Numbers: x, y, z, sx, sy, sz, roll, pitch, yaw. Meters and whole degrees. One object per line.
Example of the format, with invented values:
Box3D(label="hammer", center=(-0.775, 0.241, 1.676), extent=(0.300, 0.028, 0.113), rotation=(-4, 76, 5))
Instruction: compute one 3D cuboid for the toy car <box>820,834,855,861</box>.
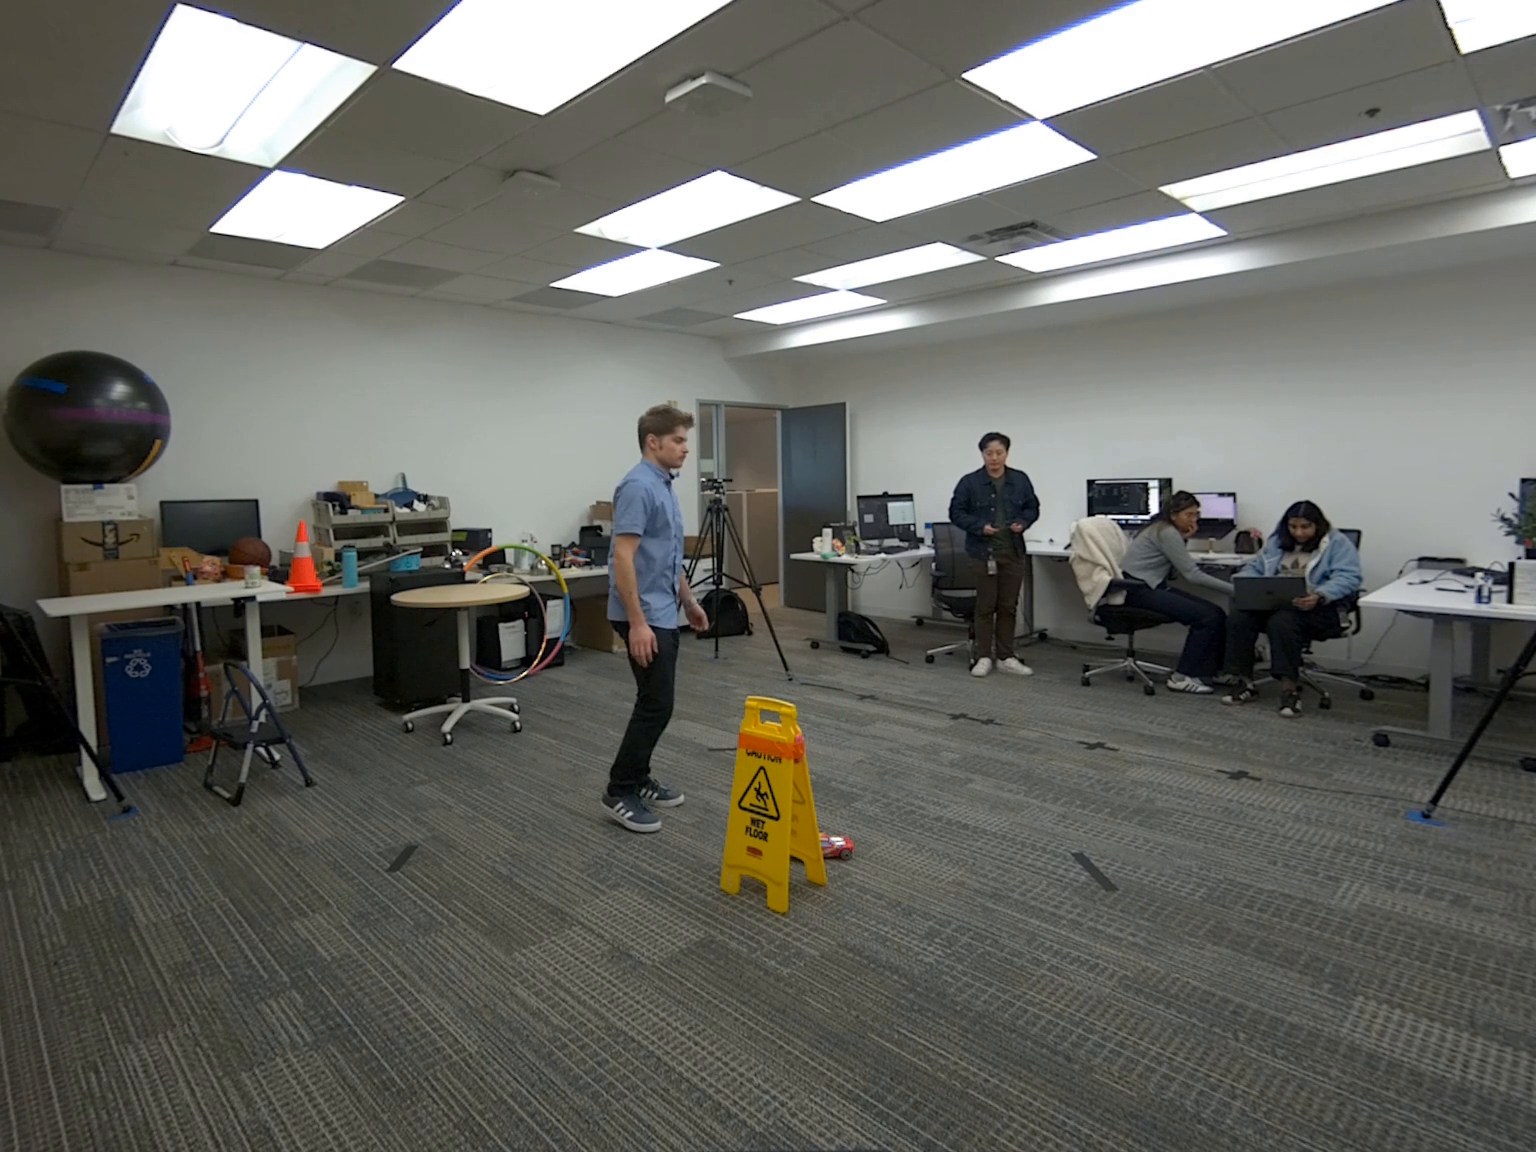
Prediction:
Box3D(label="toy car", center=(0.188, 1.002, 3.163), extent=(0.253, 0.083, 0.131), rotation=(9, 3, -4))
